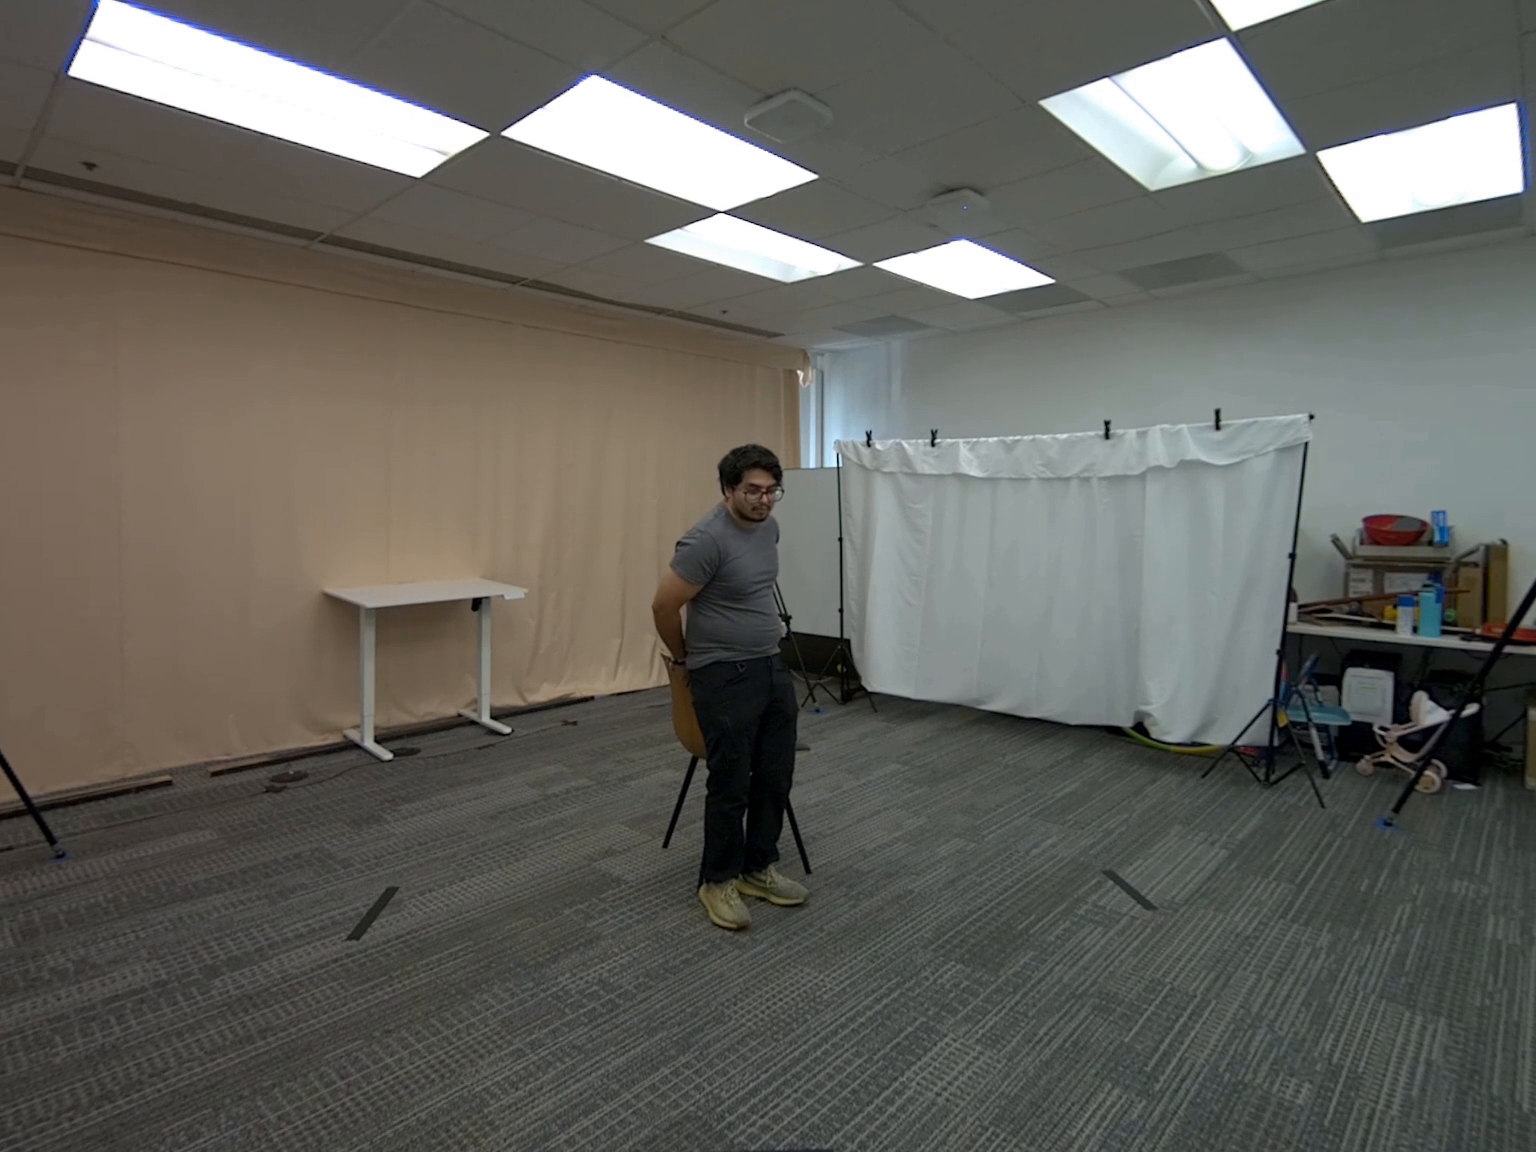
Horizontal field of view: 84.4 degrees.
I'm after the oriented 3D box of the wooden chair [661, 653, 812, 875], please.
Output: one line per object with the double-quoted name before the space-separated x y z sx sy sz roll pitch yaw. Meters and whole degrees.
"wooden chair" -0.128 0.695 3.292 0.512 0.875 0.489 -6 4 -22
